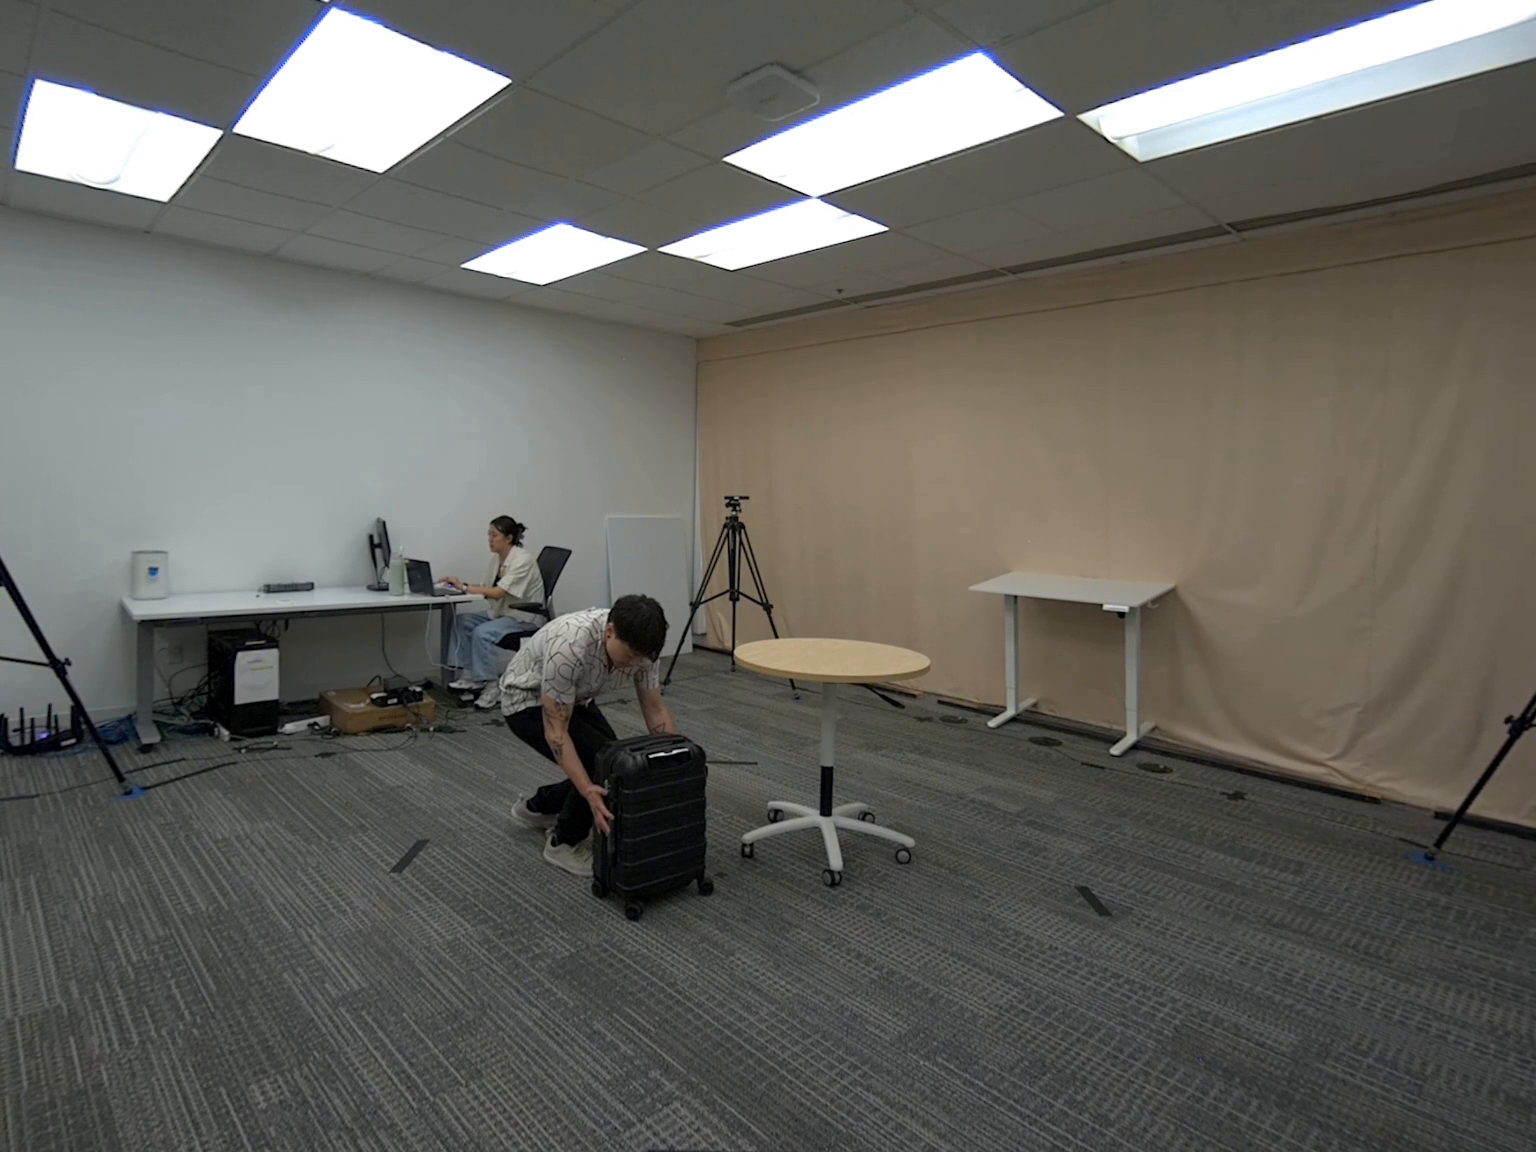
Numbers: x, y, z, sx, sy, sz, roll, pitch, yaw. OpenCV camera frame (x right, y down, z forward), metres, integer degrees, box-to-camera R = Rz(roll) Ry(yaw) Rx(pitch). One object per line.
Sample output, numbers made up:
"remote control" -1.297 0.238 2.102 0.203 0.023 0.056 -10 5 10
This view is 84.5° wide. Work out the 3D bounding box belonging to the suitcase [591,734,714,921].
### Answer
"suitcase" -0.418 0.840 2.920 0.367 0.548 0.254 -2 4 -40
